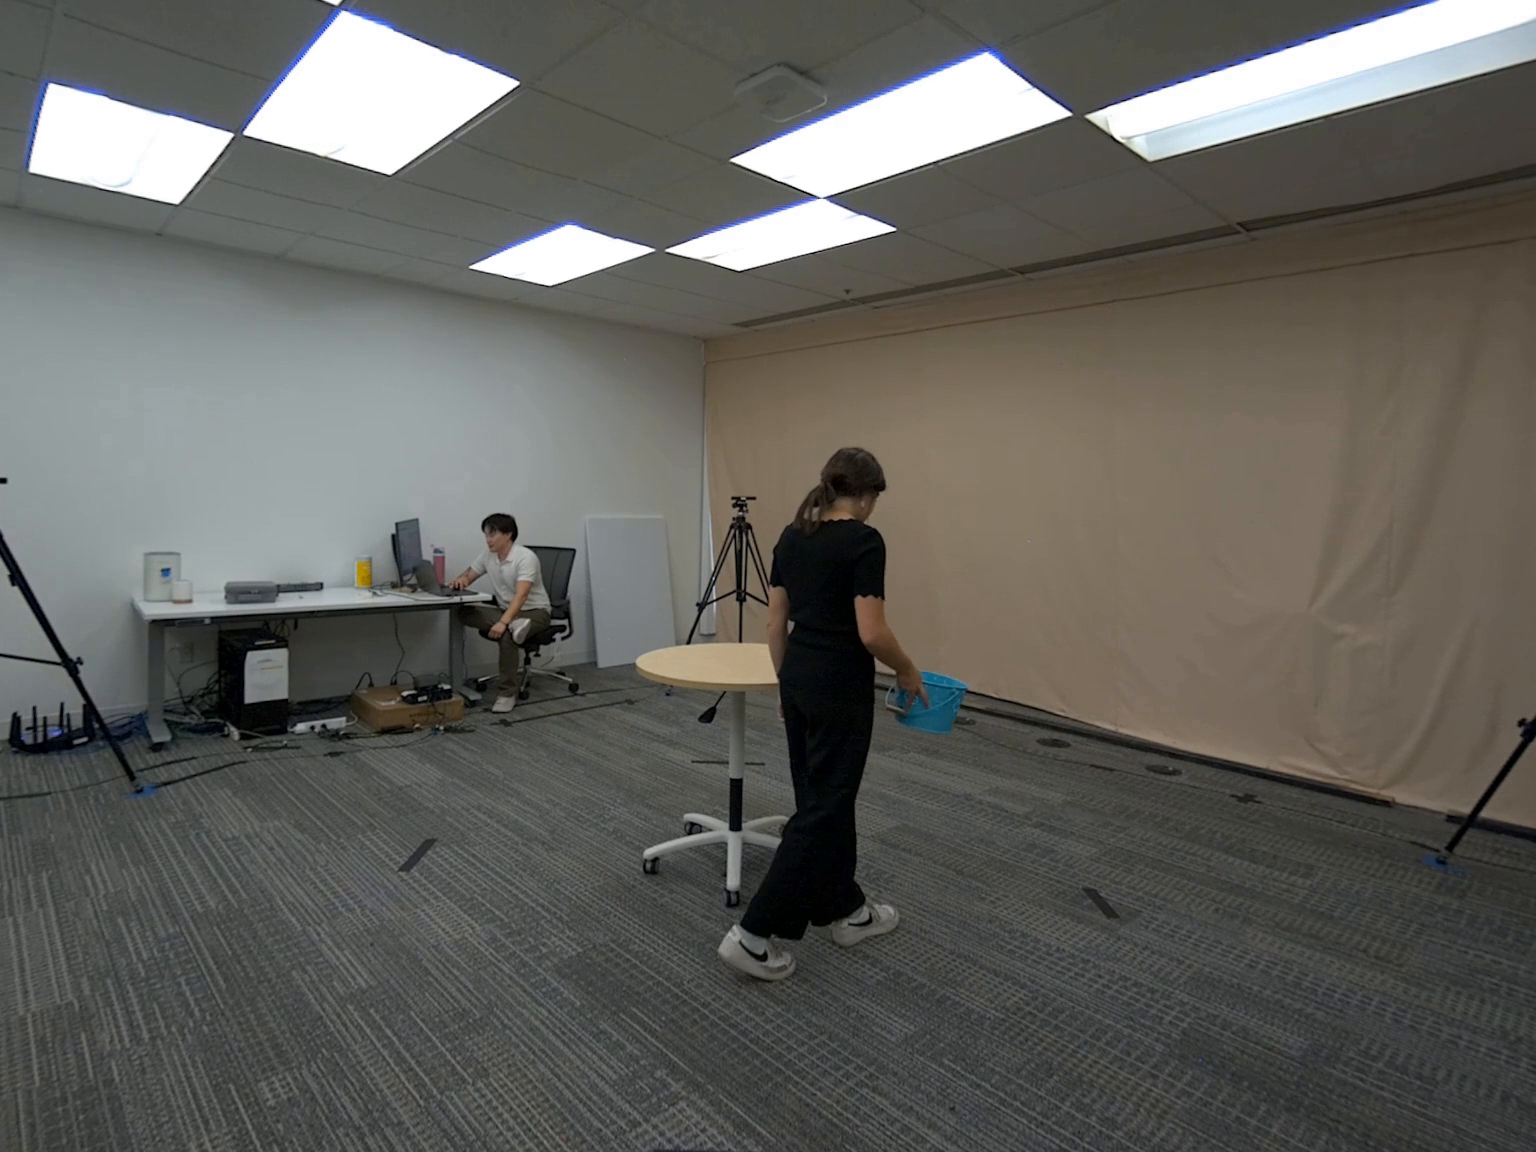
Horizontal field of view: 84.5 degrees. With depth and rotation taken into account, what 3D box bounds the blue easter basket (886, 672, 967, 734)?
[{"bbox_3d":[0.497,0.395,2.657,0.243,0.155,0.244,10,5,-2],"label":"blue easter basket"}]
